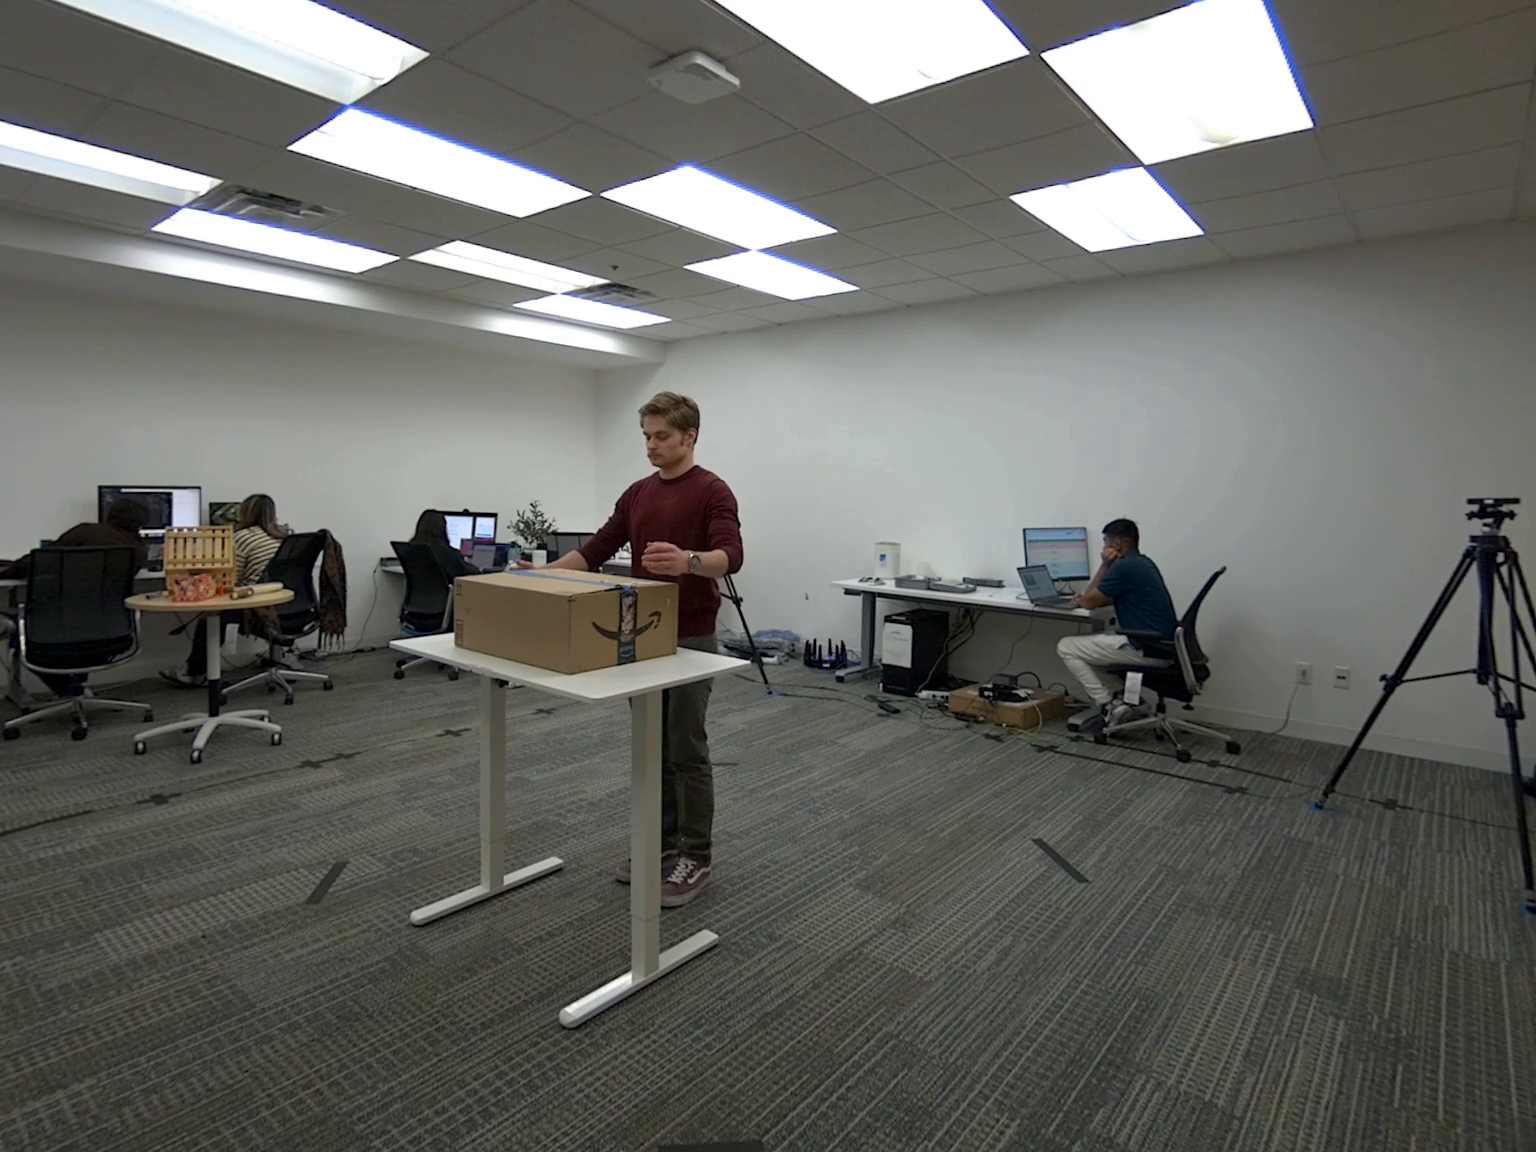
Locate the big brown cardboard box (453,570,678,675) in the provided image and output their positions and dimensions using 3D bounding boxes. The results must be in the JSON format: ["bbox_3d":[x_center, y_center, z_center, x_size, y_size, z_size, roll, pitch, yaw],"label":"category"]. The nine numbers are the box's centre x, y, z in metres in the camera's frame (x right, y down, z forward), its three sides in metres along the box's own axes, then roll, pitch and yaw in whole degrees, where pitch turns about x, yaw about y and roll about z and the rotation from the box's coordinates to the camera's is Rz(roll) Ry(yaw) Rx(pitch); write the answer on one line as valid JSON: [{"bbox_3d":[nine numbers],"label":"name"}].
[{"bbox_3d":[-0.629,0.116,2.602,0.609,0.232,0.405,5,7,39],"label":"big brown cardboard box"}]
